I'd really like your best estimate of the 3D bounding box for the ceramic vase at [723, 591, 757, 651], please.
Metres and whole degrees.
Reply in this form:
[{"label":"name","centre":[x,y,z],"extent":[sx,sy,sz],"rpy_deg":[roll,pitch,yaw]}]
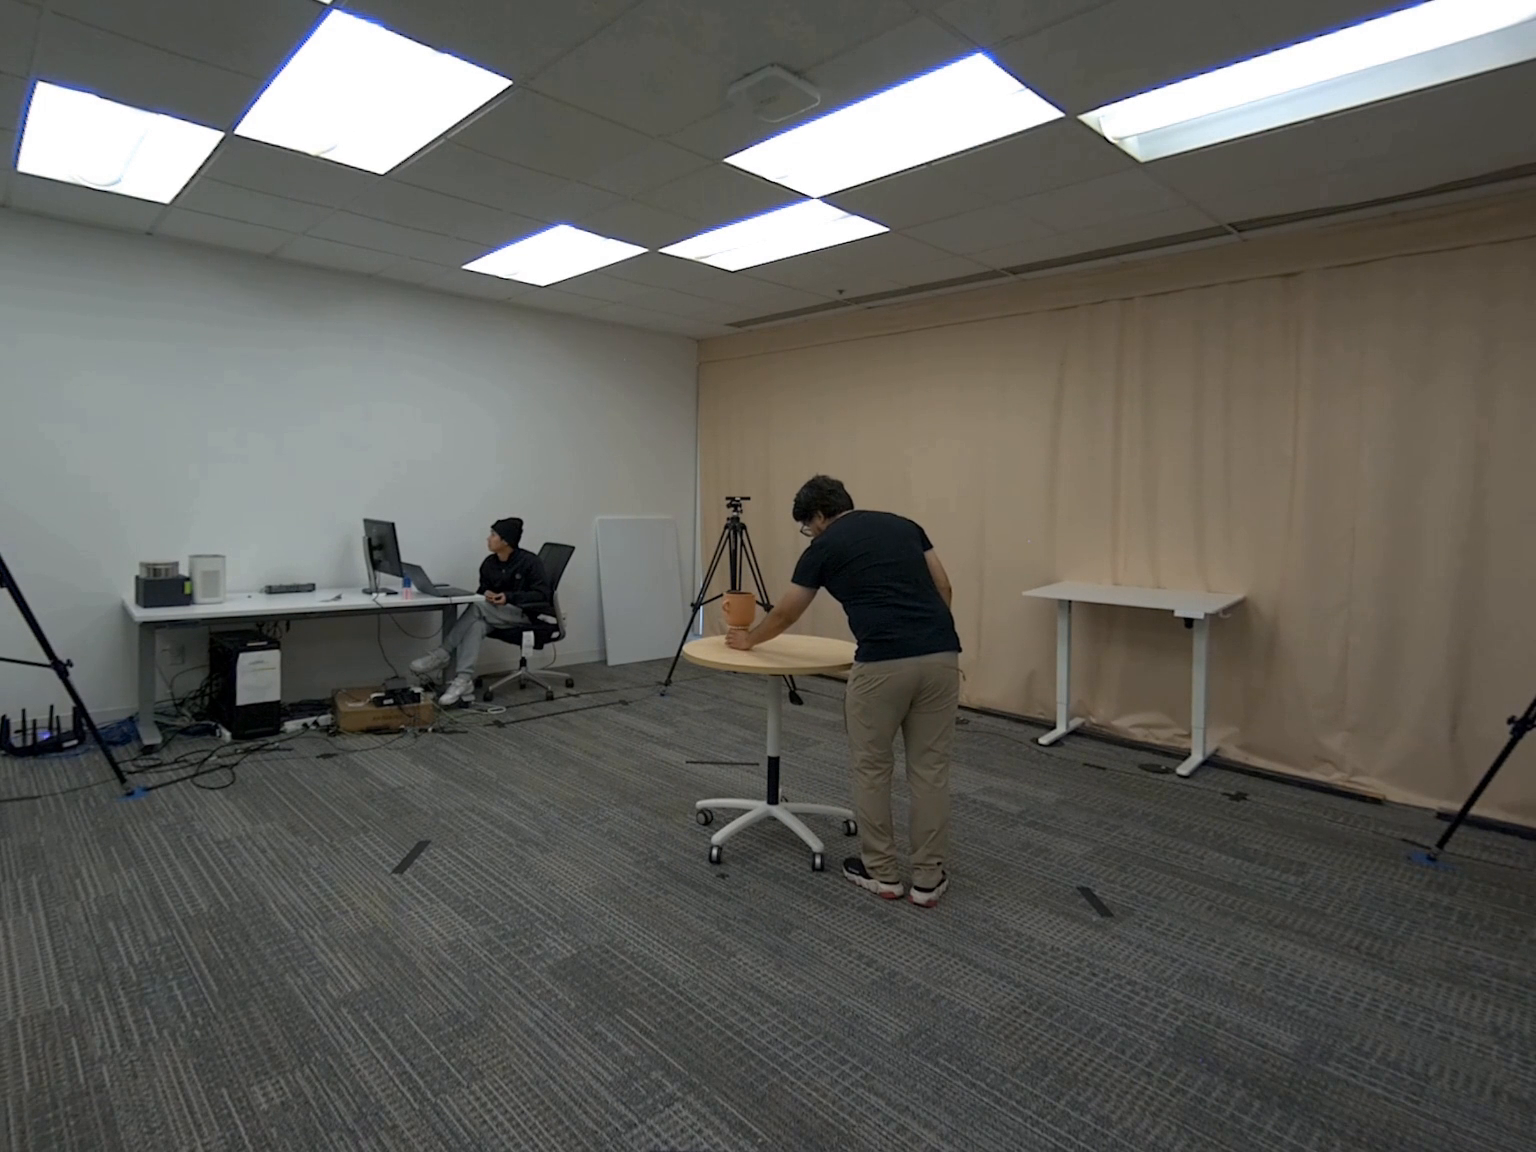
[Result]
[{"label":"ceramic vase","centre":[-0.126,0.182,3.492],"extent":[0.158,0.219,0.136],"rpy_deg":[1,3,-10]}]
